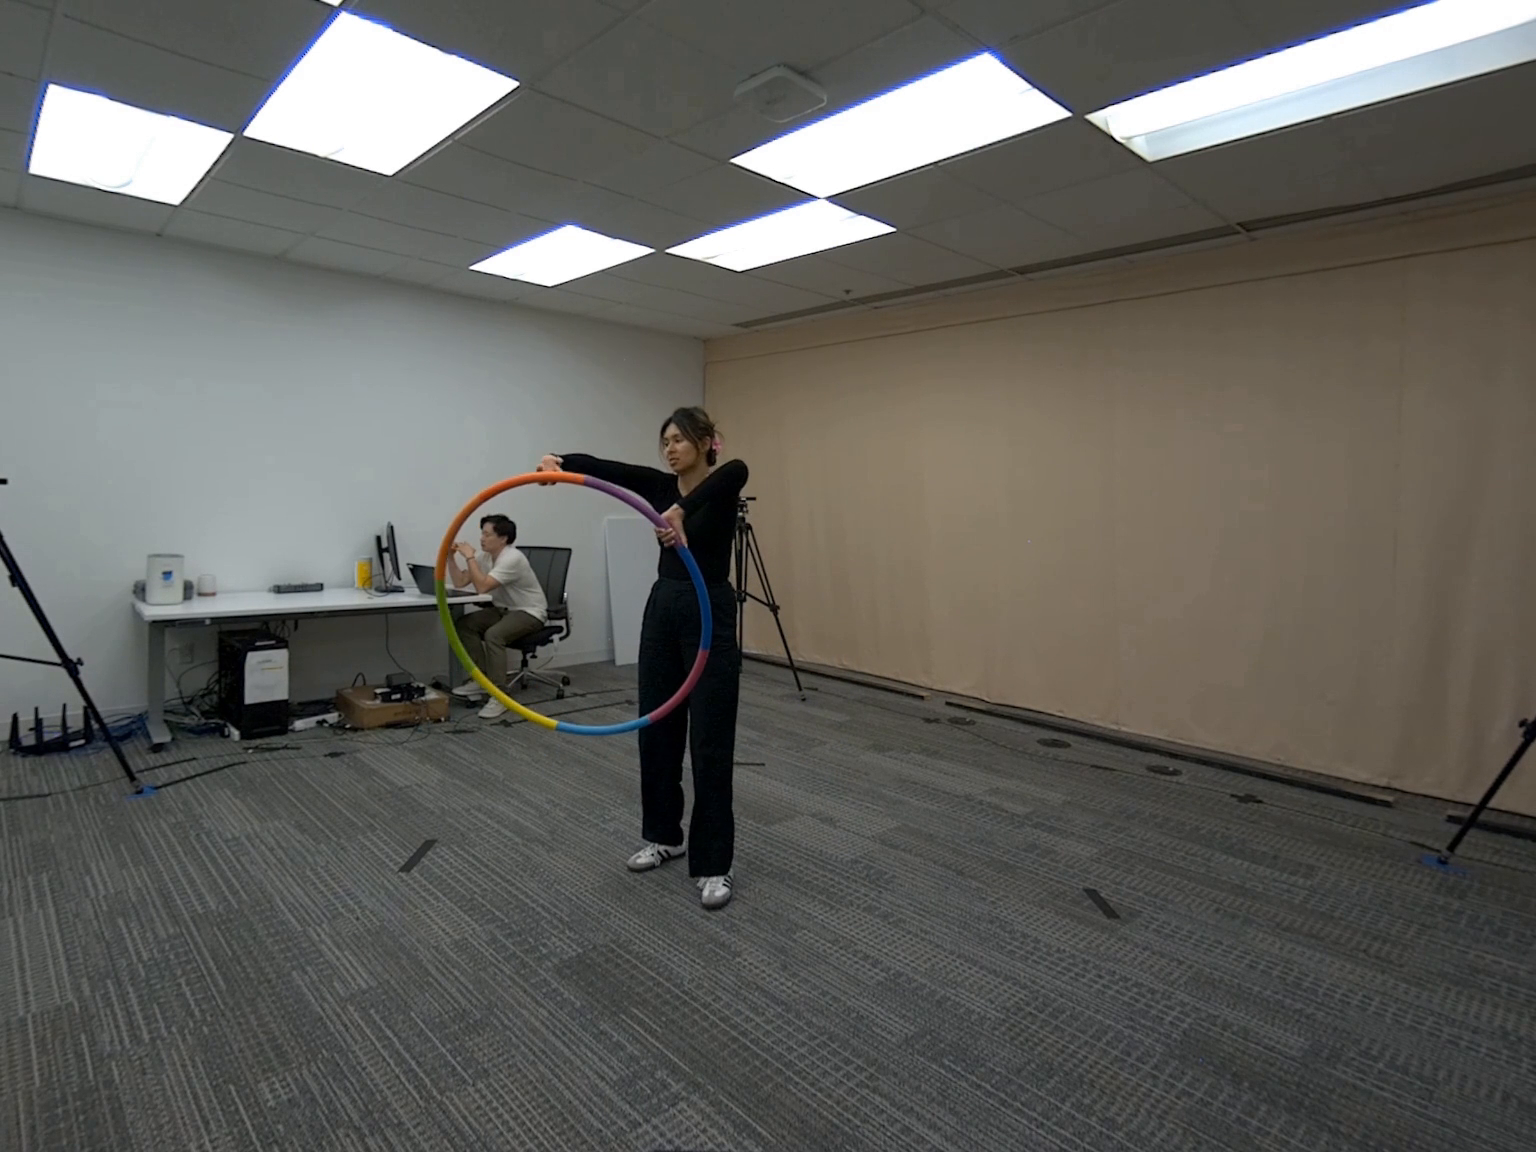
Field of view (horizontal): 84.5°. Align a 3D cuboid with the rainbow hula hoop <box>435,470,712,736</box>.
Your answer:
[{"bbox_3d":[-0.670,0.123,2.839,0.995,0.969,0.052,3,23,12],"label":"rainbow hula hoop"}]
